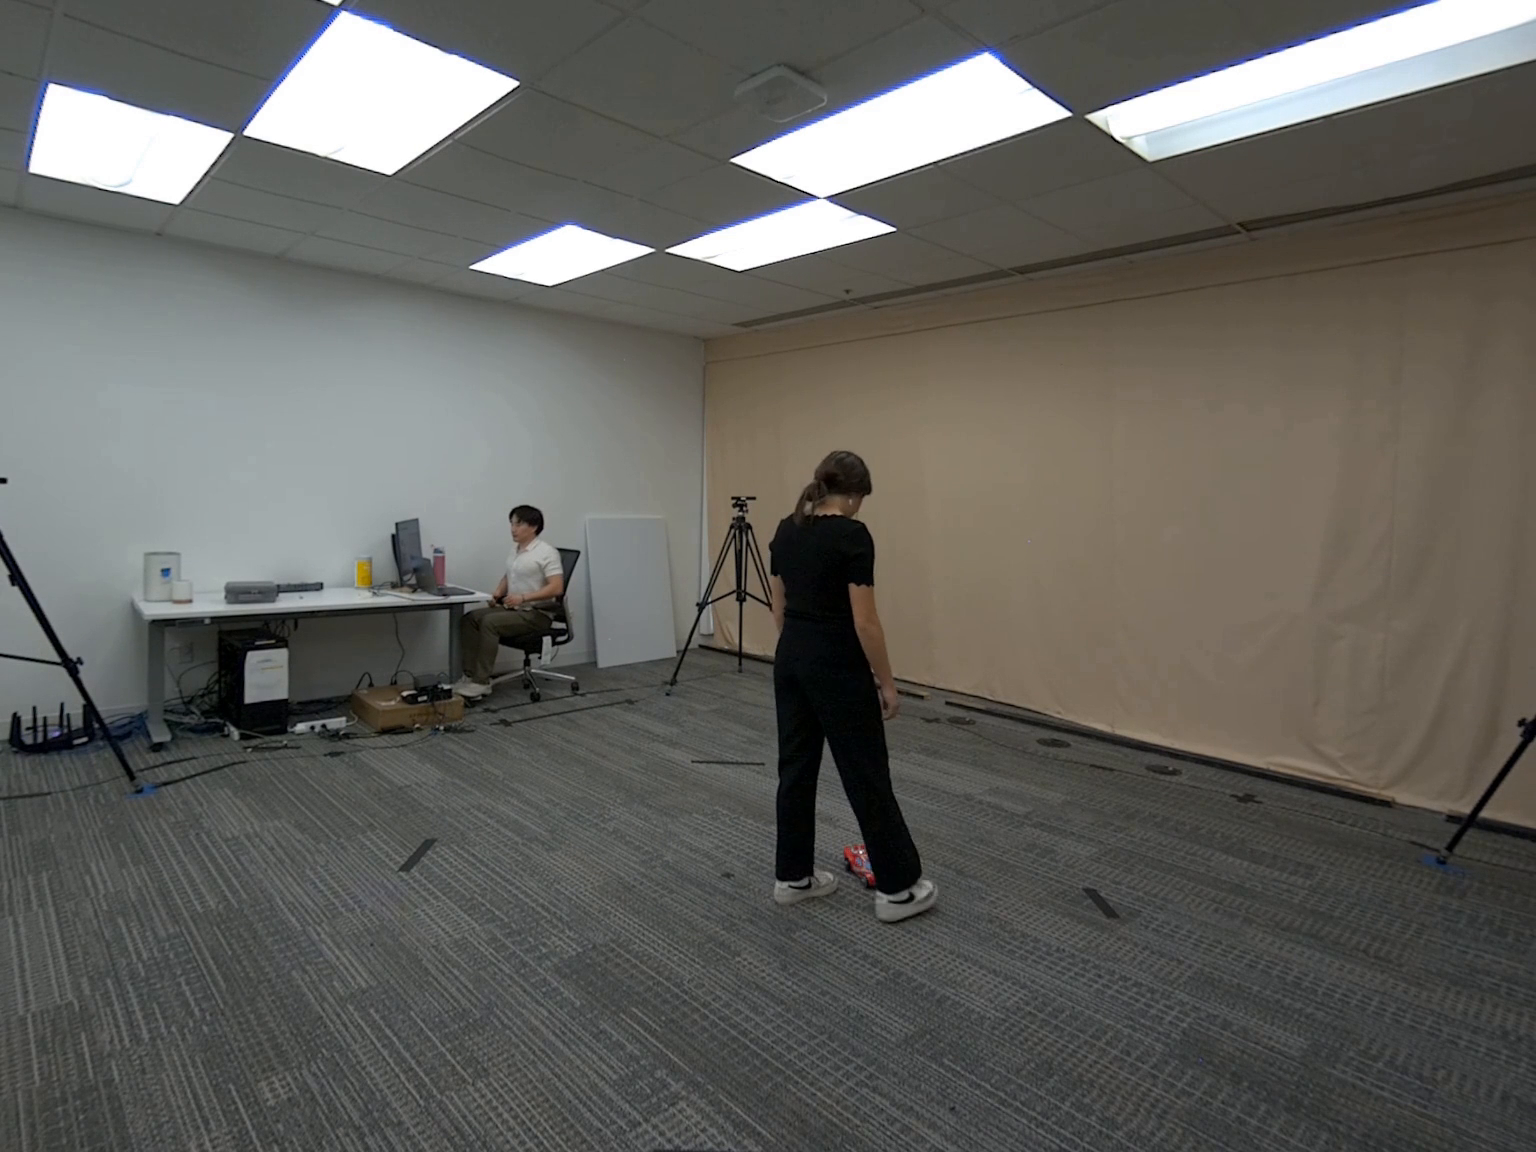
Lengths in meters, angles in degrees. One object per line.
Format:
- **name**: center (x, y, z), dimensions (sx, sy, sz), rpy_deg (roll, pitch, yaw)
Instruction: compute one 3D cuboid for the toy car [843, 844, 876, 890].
- **toy car**: center (0.361, 1.082, 3.139), dimensions (0.128, 0.082, 0.261), rpy_deg (0, 17, -19)
